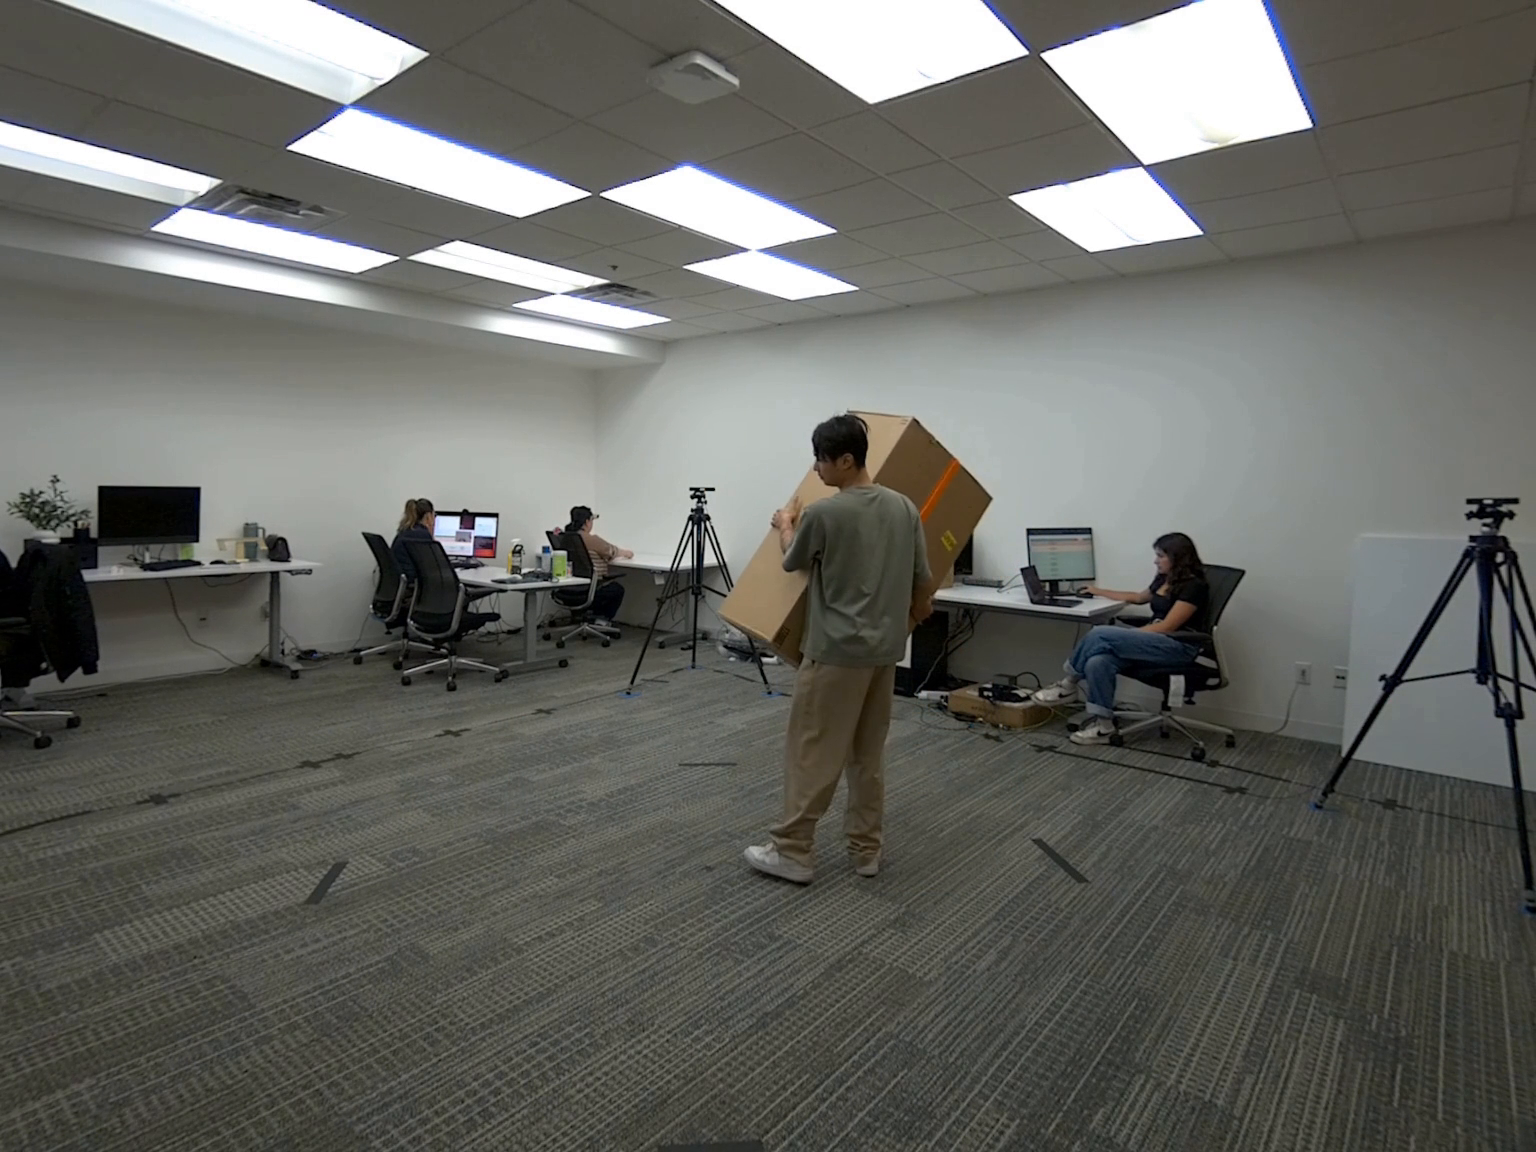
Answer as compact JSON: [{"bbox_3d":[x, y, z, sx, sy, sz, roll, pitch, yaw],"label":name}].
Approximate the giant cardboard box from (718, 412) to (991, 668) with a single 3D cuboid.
[{"bbox_3d":[0.349,-0.083,3.466,0.556,1.027,0.442,38,-9,-32],"label":"giant cardboard box"}]
